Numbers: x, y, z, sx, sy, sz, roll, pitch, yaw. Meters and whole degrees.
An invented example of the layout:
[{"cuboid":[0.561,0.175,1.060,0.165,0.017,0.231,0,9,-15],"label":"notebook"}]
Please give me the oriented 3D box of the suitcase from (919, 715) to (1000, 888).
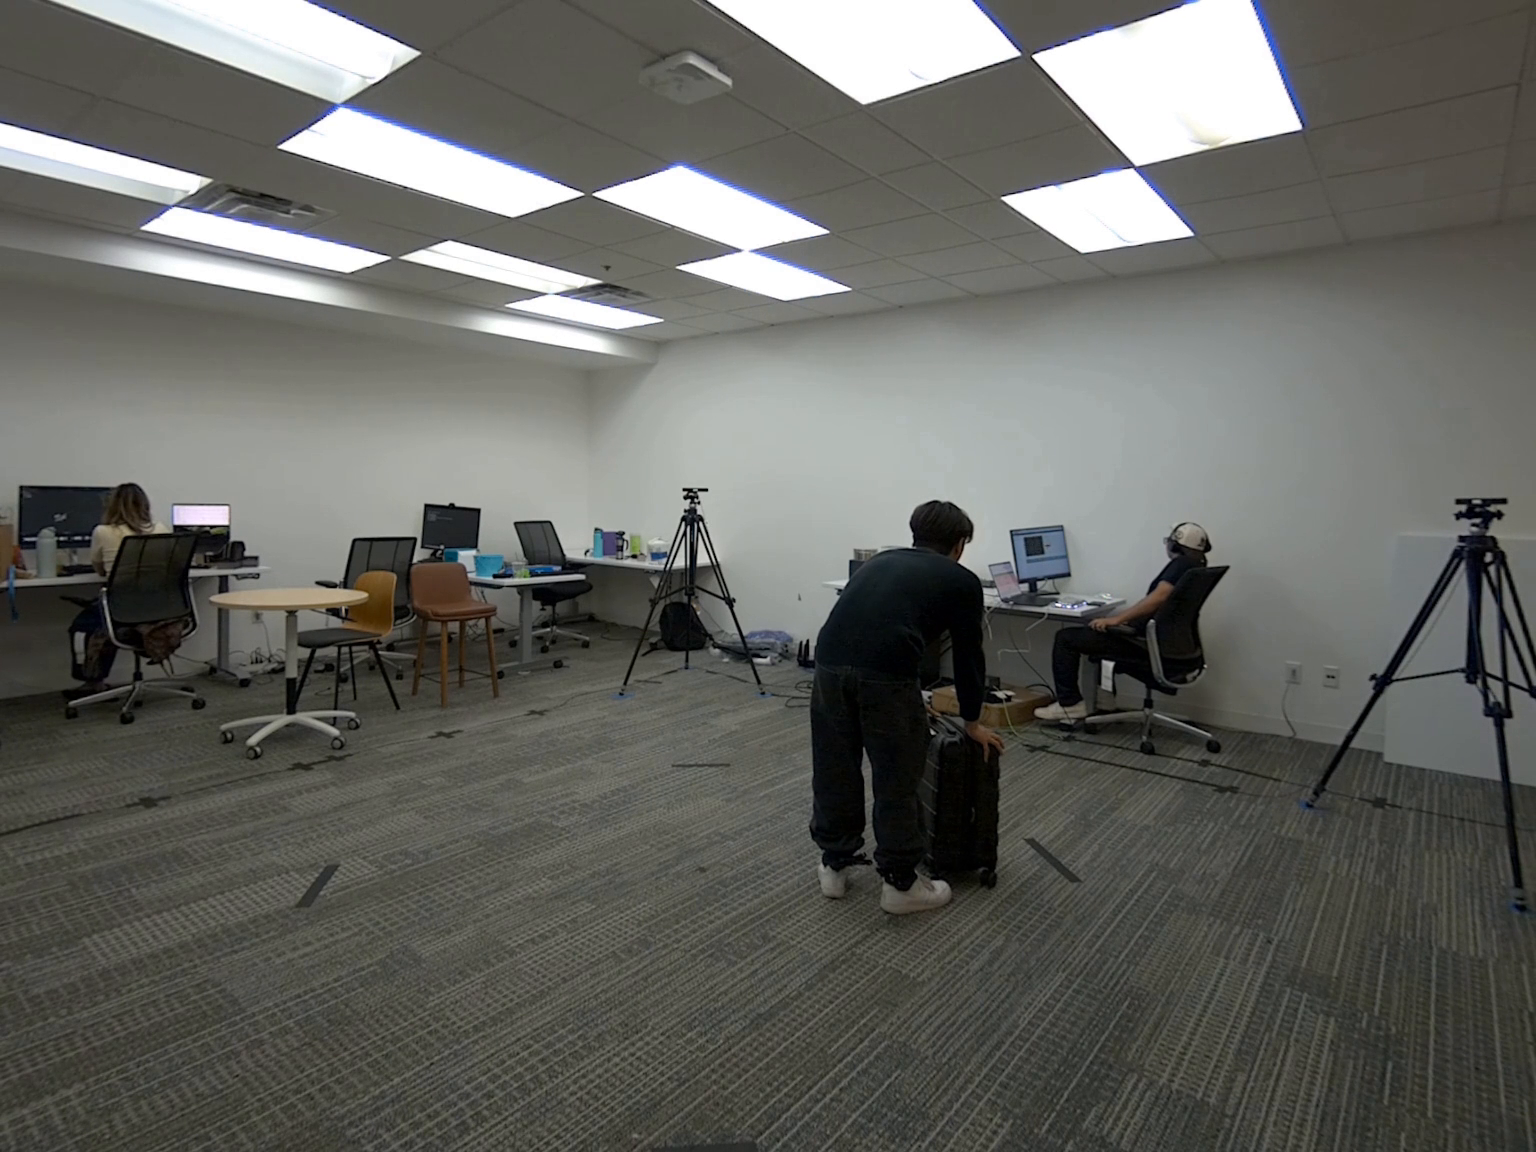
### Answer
[{"cuboid":[0.677,0.805,3.172,0.246,0.548,0.381,1,4,-11],"label":"suitcase"}]
